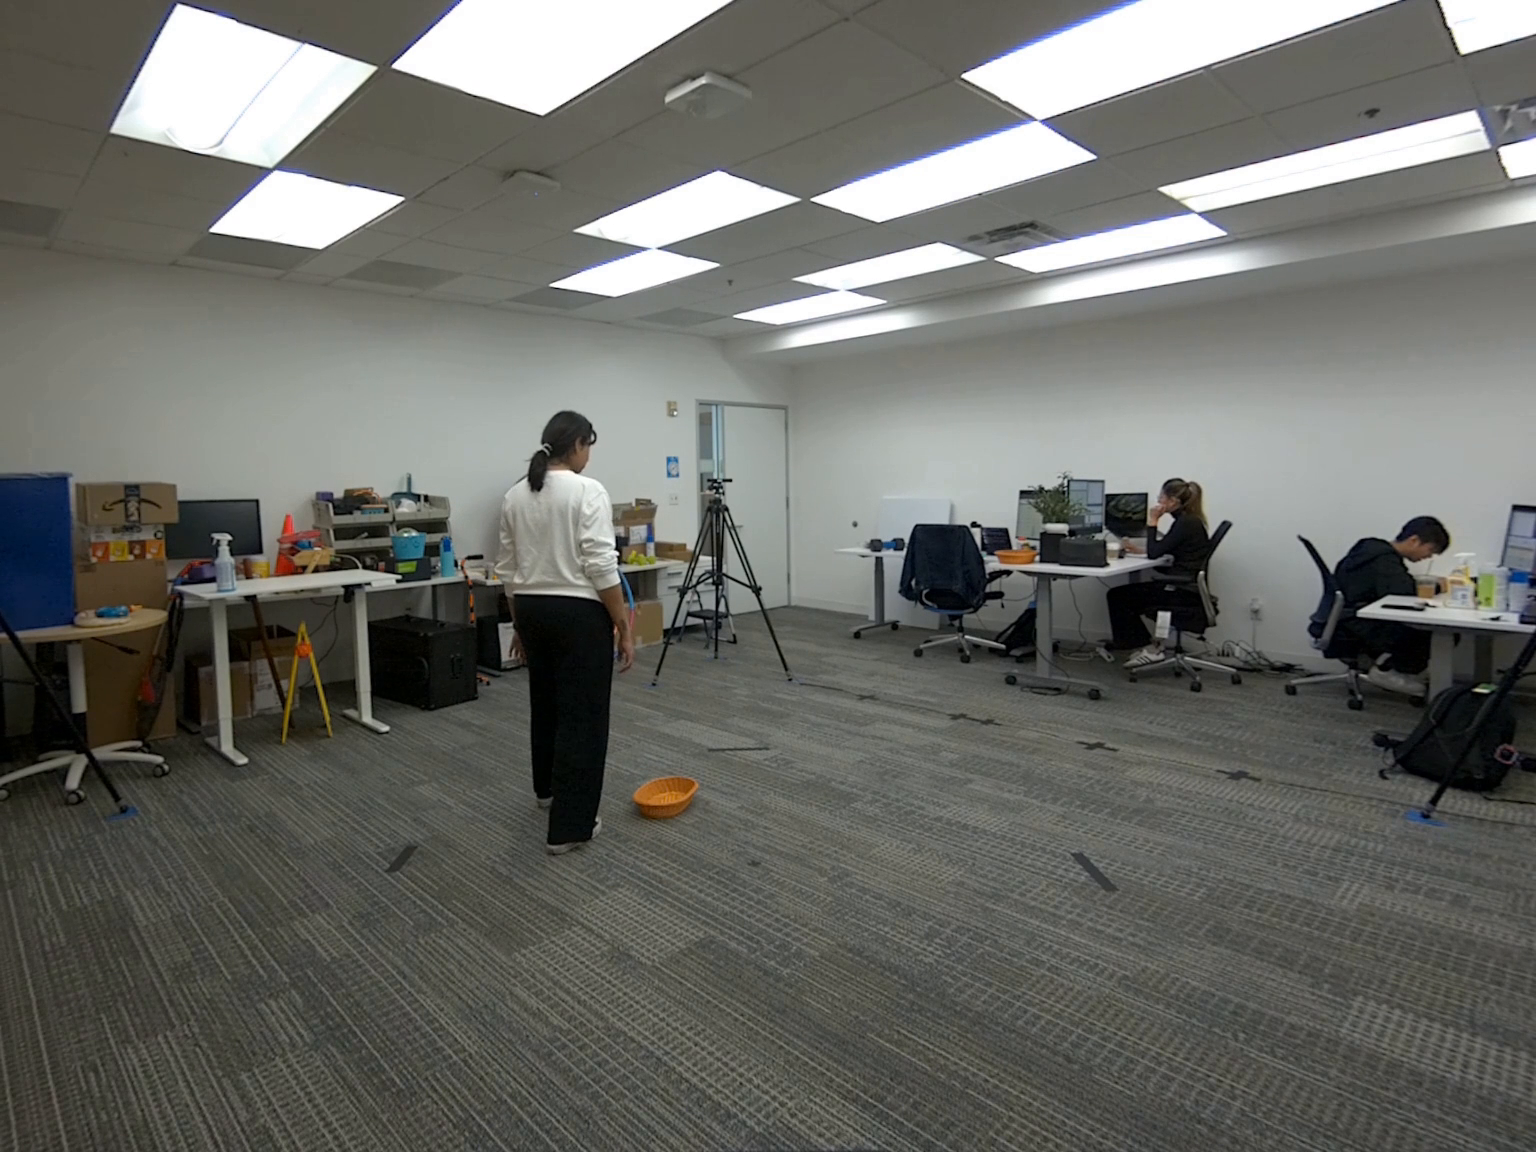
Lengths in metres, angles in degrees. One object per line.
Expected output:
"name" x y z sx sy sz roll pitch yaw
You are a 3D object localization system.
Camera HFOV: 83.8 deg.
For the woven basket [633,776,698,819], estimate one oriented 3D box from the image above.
"woven basket" -0.439 0.948 3.669 0.257 0.073 0.345 0 7 21
